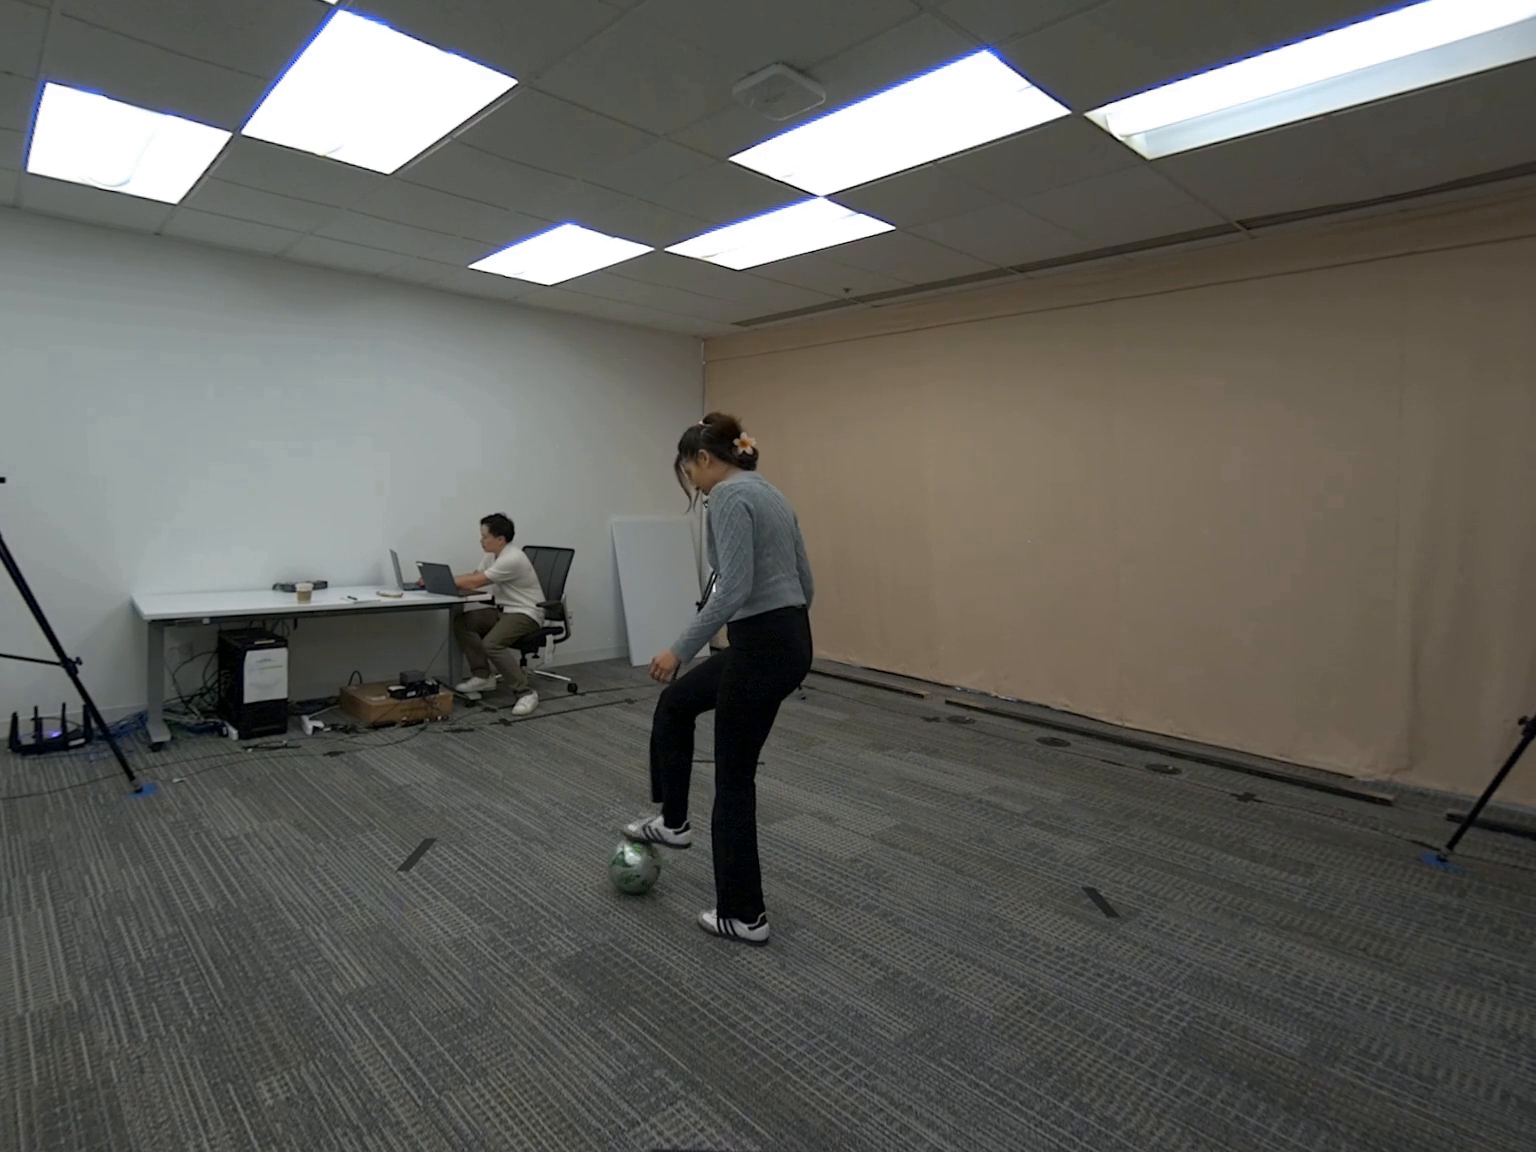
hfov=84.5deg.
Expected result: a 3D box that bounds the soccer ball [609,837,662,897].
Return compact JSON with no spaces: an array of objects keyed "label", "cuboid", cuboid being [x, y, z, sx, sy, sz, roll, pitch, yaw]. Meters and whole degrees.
[{"label":"soccer ball","cuboid":[-0.438,1.016,2.954,0.187,0.187,0.188,1,4,-1]}]
